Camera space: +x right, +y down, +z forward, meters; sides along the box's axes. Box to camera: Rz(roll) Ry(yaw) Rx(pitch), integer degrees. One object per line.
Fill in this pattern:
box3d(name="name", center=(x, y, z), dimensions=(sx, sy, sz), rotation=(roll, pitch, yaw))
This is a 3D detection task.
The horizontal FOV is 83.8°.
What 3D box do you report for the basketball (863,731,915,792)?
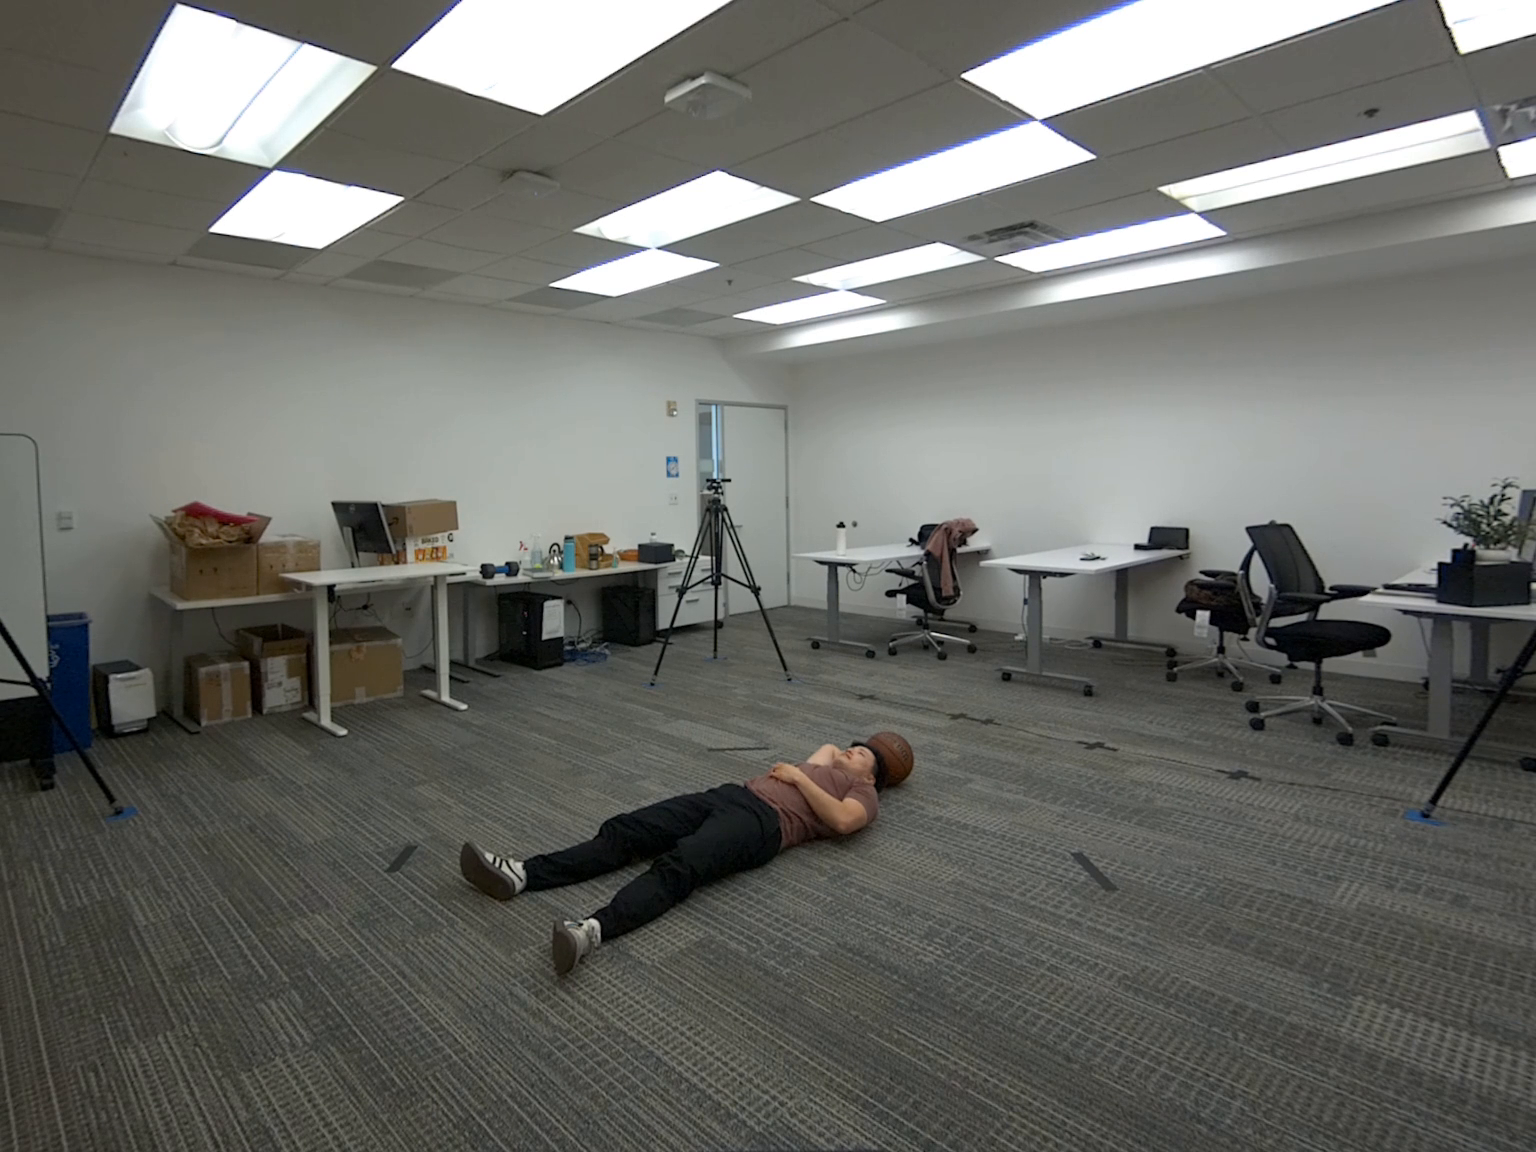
box3d(name="basketball", center=(0.538, 0.823, 3.885), dimensions=(0.236, 0.235, 0.237), rotation=(-2, 5, -2))
